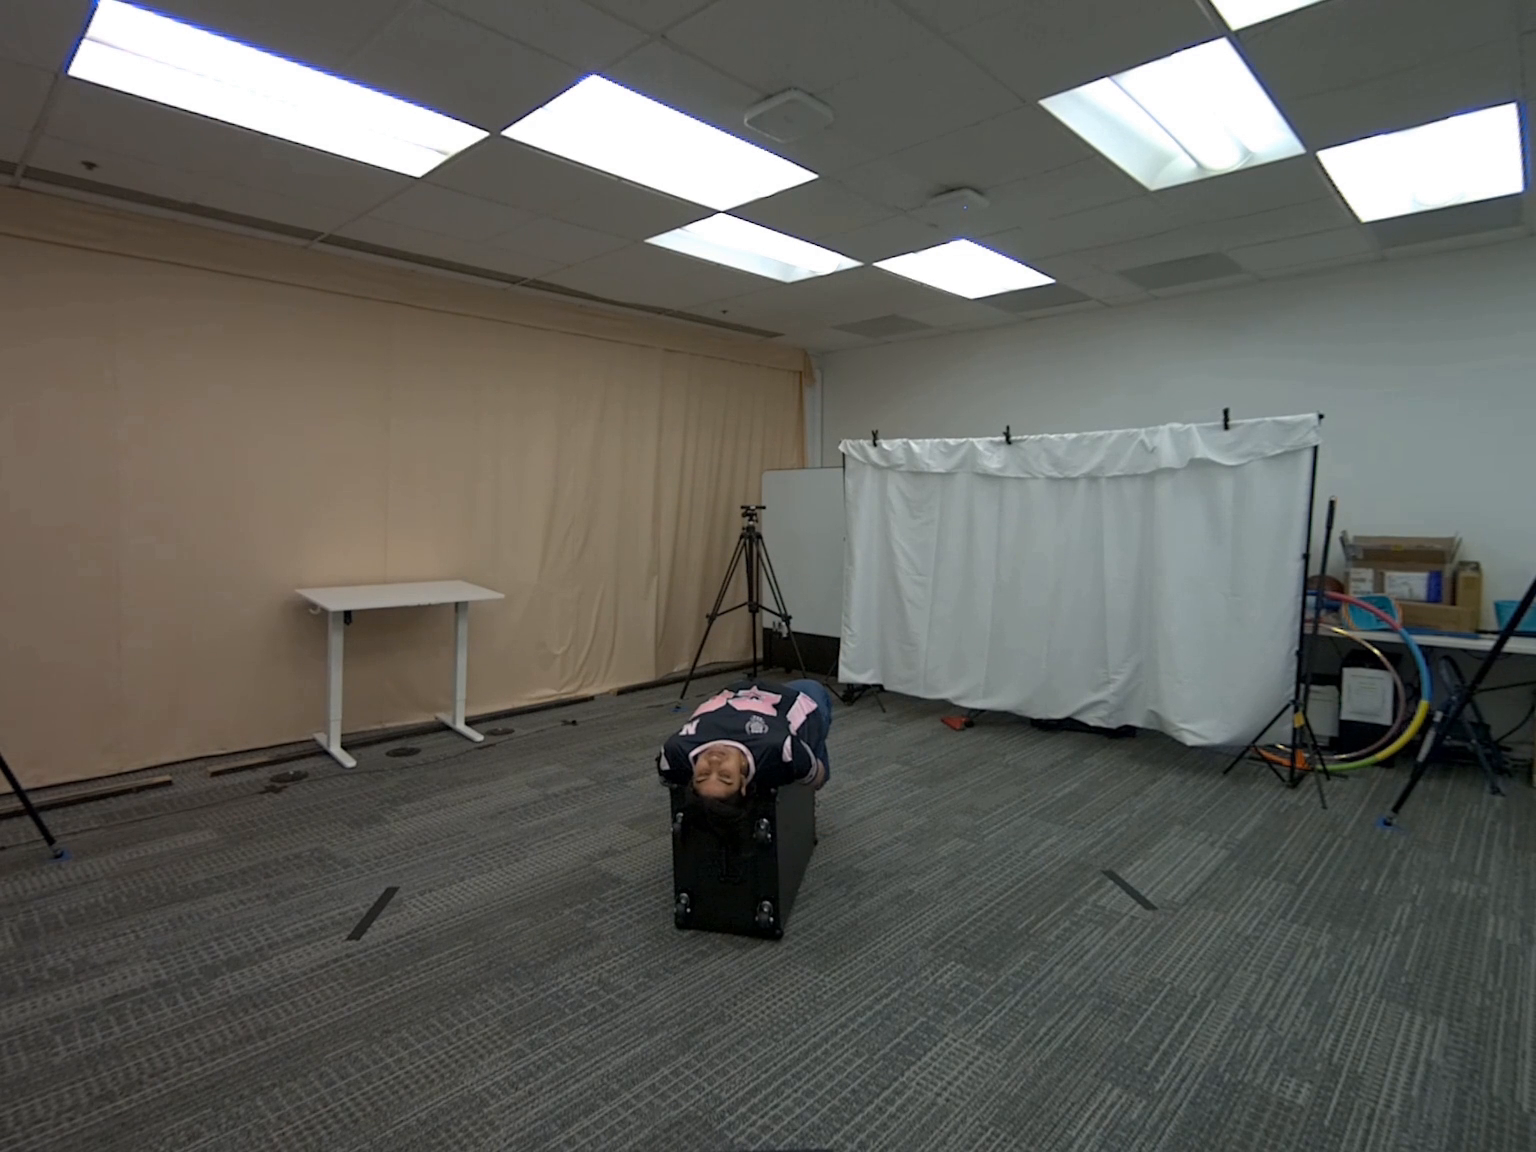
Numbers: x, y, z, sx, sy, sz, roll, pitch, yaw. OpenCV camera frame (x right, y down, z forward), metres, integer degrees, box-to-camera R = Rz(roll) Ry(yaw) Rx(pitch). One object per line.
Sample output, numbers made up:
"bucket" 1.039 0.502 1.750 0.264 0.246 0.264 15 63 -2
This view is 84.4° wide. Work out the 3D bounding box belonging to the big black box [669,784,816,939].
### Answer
"big black box" -0.070 0.880 3.051 0.391 0.522 0.857 2 5 13
